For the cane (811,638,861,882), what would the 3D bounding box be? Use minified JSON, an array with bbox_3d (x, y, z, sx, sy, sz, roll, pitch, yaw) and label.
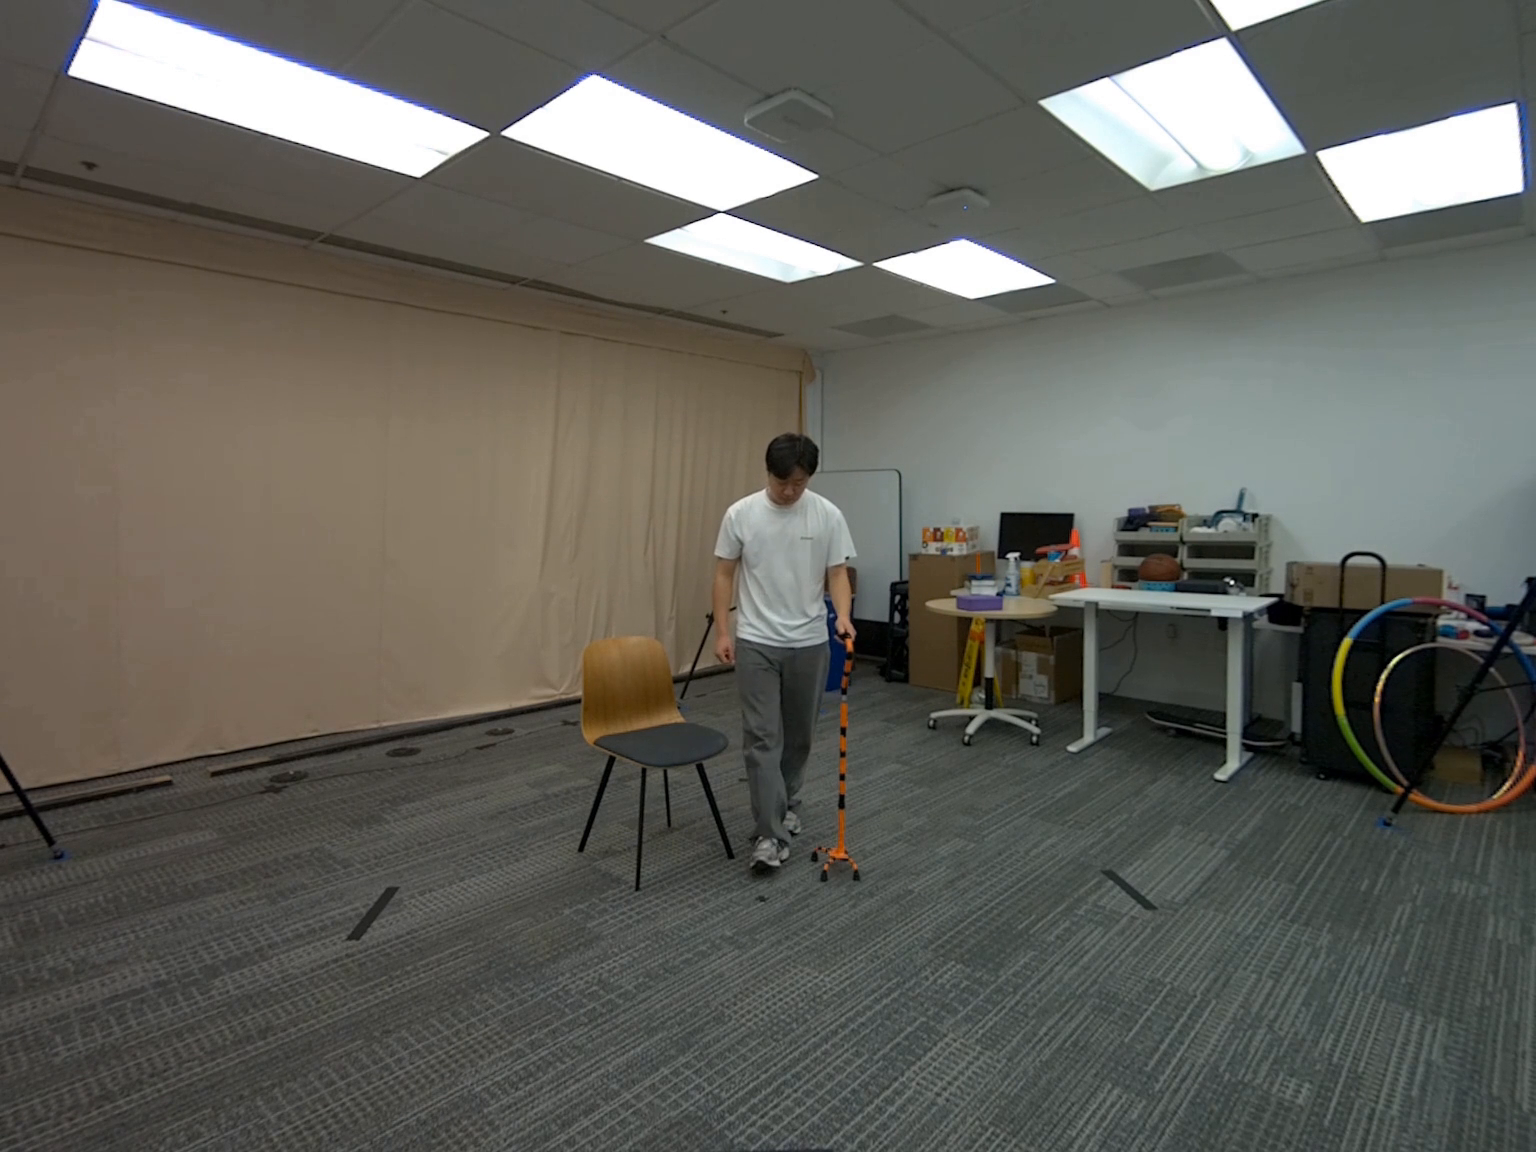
[{"bbox_3d":[0.276,0.663,3.199,0.151,0.906,0.207,3,3,-4],"label":"cane"}]
